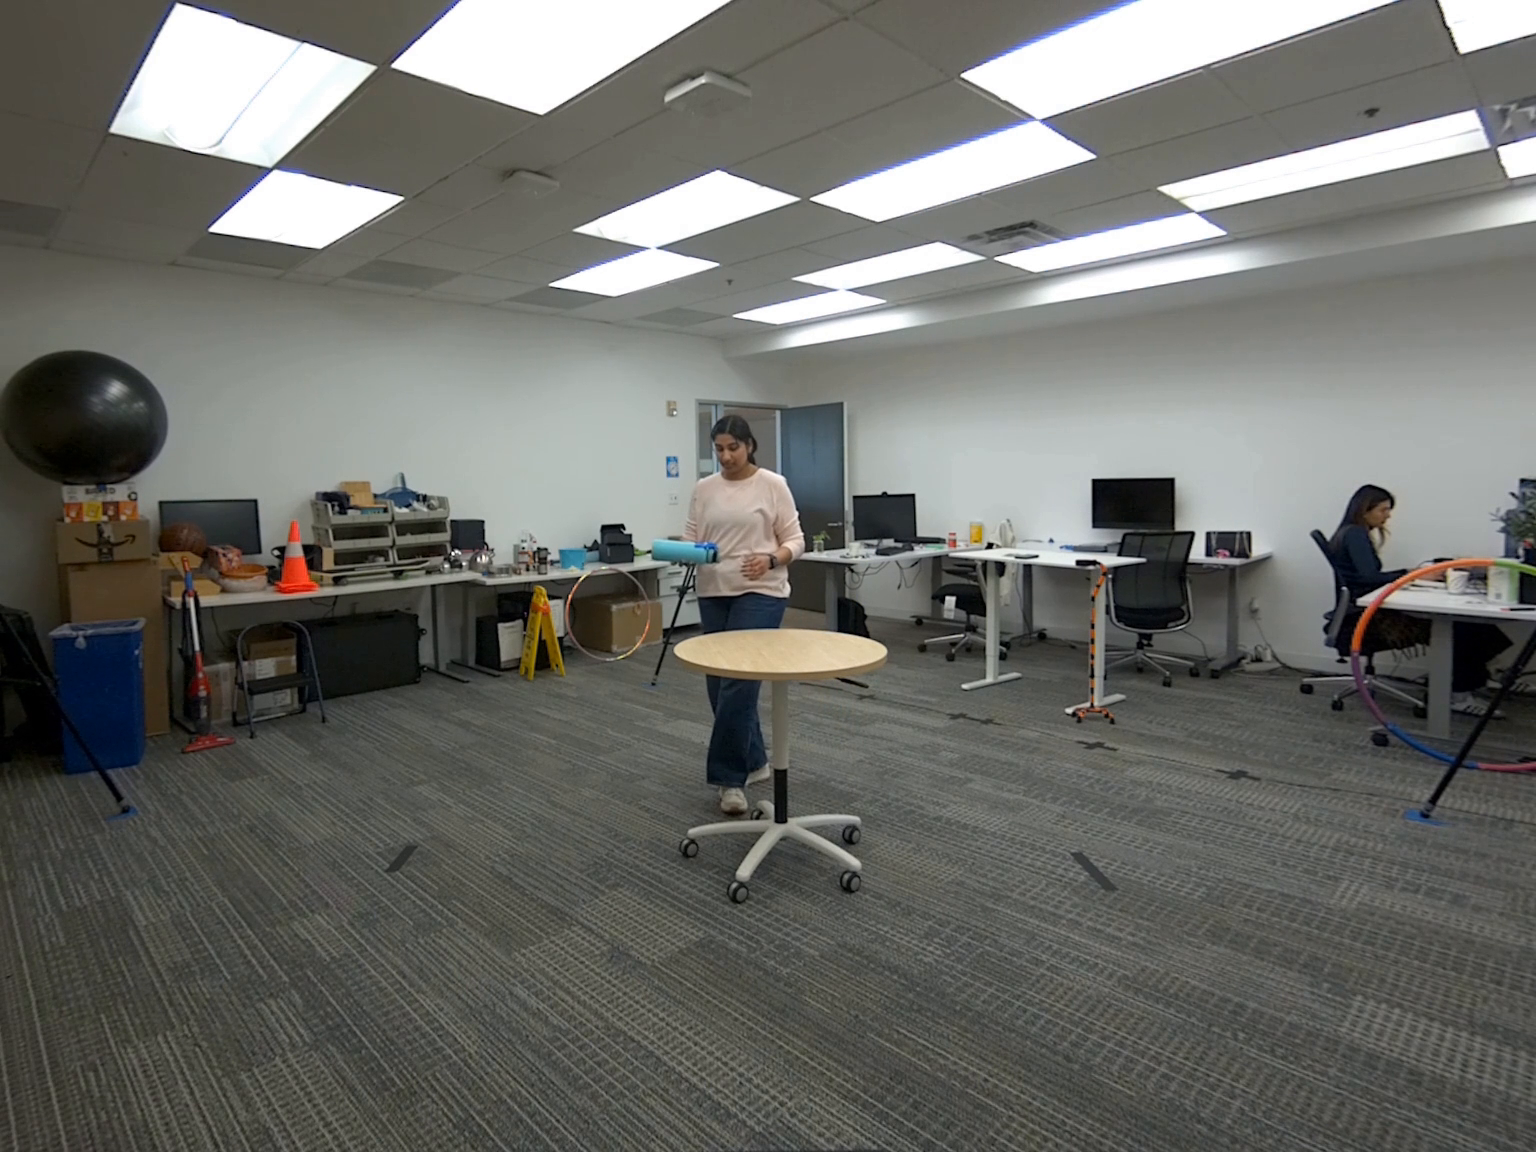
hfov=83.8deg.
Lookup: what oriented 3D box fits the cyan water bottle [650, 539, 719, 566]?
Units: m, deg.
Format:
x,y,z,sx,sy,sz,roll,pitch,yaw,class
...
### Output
x,y,z,sx,sy,sz,roll,pitch,yaw,class
-0.341,-0.097,3.549,0.285,0.092,0.092,4,5,5,cyan water bottle
